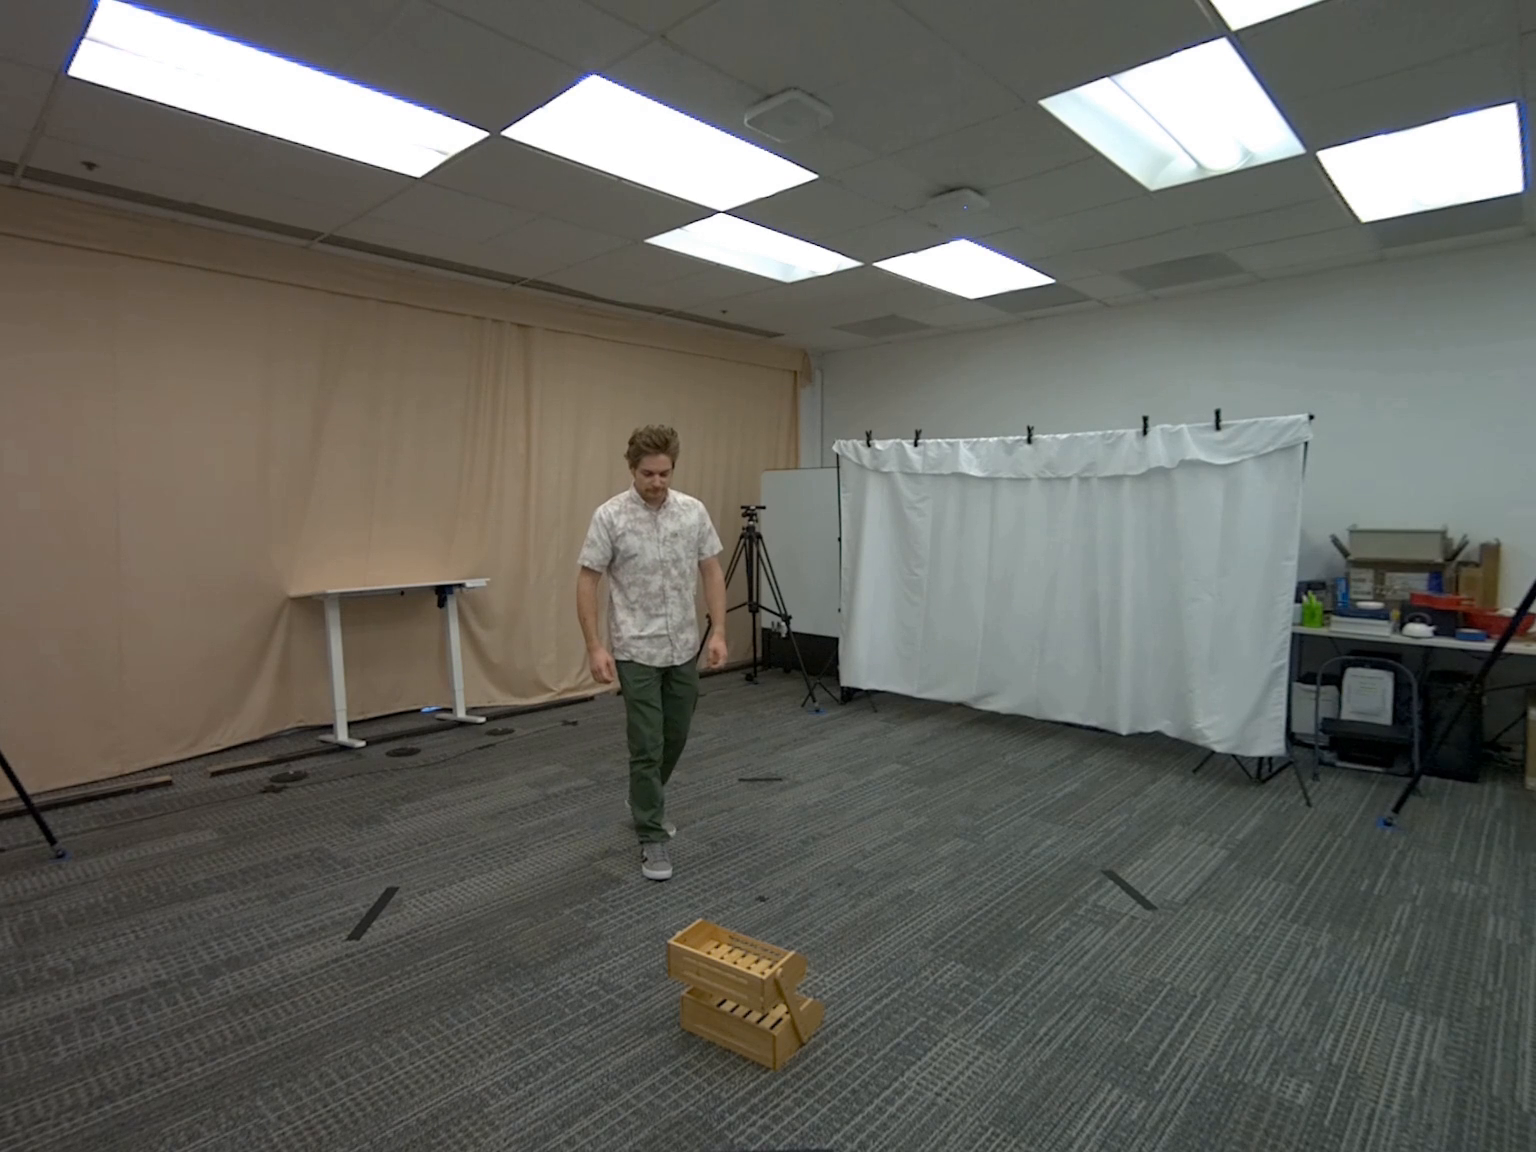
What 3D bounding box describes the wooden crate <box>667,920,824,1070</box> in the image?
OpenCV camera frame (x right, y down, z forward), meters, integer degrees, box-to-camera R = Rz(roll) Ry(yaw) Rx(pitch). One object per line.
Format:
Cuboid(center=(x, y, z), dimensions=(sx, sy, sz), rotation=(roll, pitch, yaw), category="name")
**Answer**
Cuboid(center=(-0.051, 1.075, 2.230), dimensions=(0.334, 0.272, 0.293), rotation=(3, 5, 33), category="wooden crate")
